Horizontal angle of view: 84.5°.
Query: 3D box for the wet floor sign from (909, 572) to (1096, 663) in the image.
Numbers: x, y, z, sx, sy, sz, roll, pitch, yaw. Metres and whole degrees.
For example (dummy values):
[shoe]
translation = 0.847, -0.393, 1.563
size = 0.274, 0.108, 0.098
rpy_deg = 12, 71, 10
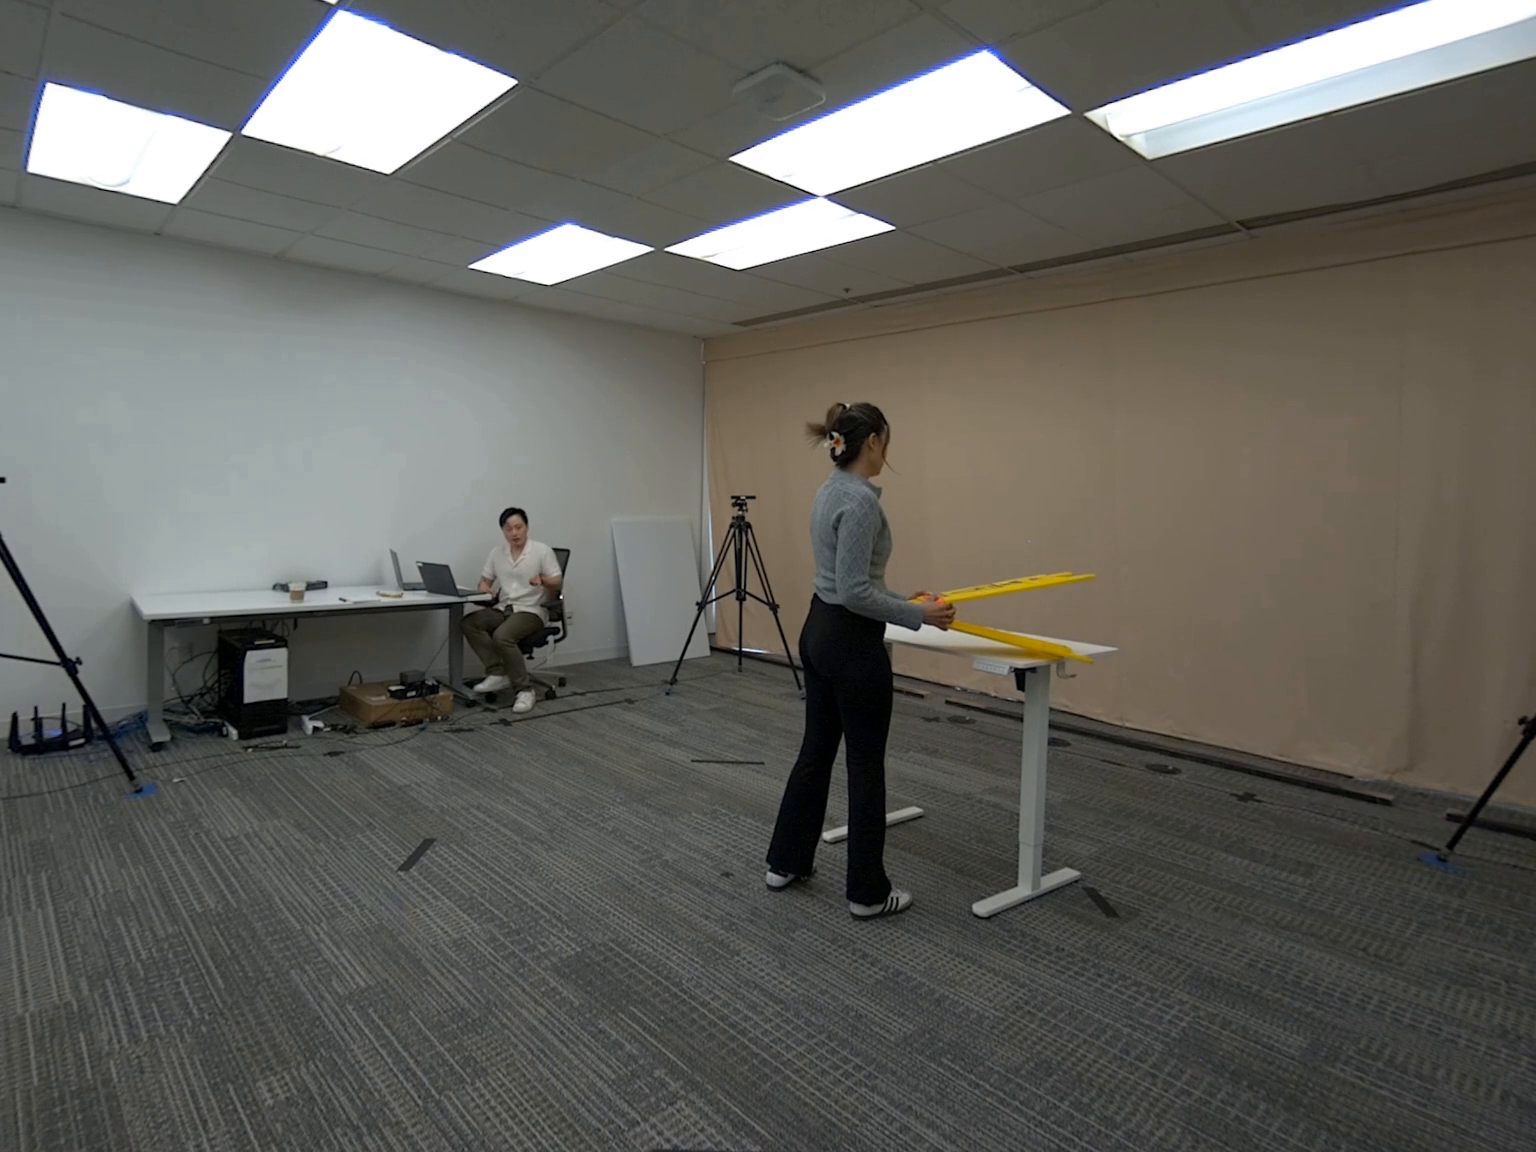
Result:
[wet floor sign]
translation = 0.743, 0.120, 2.883
size = 0.646, 0.289, 0.282
rpy_deg = 2, 3, 0
